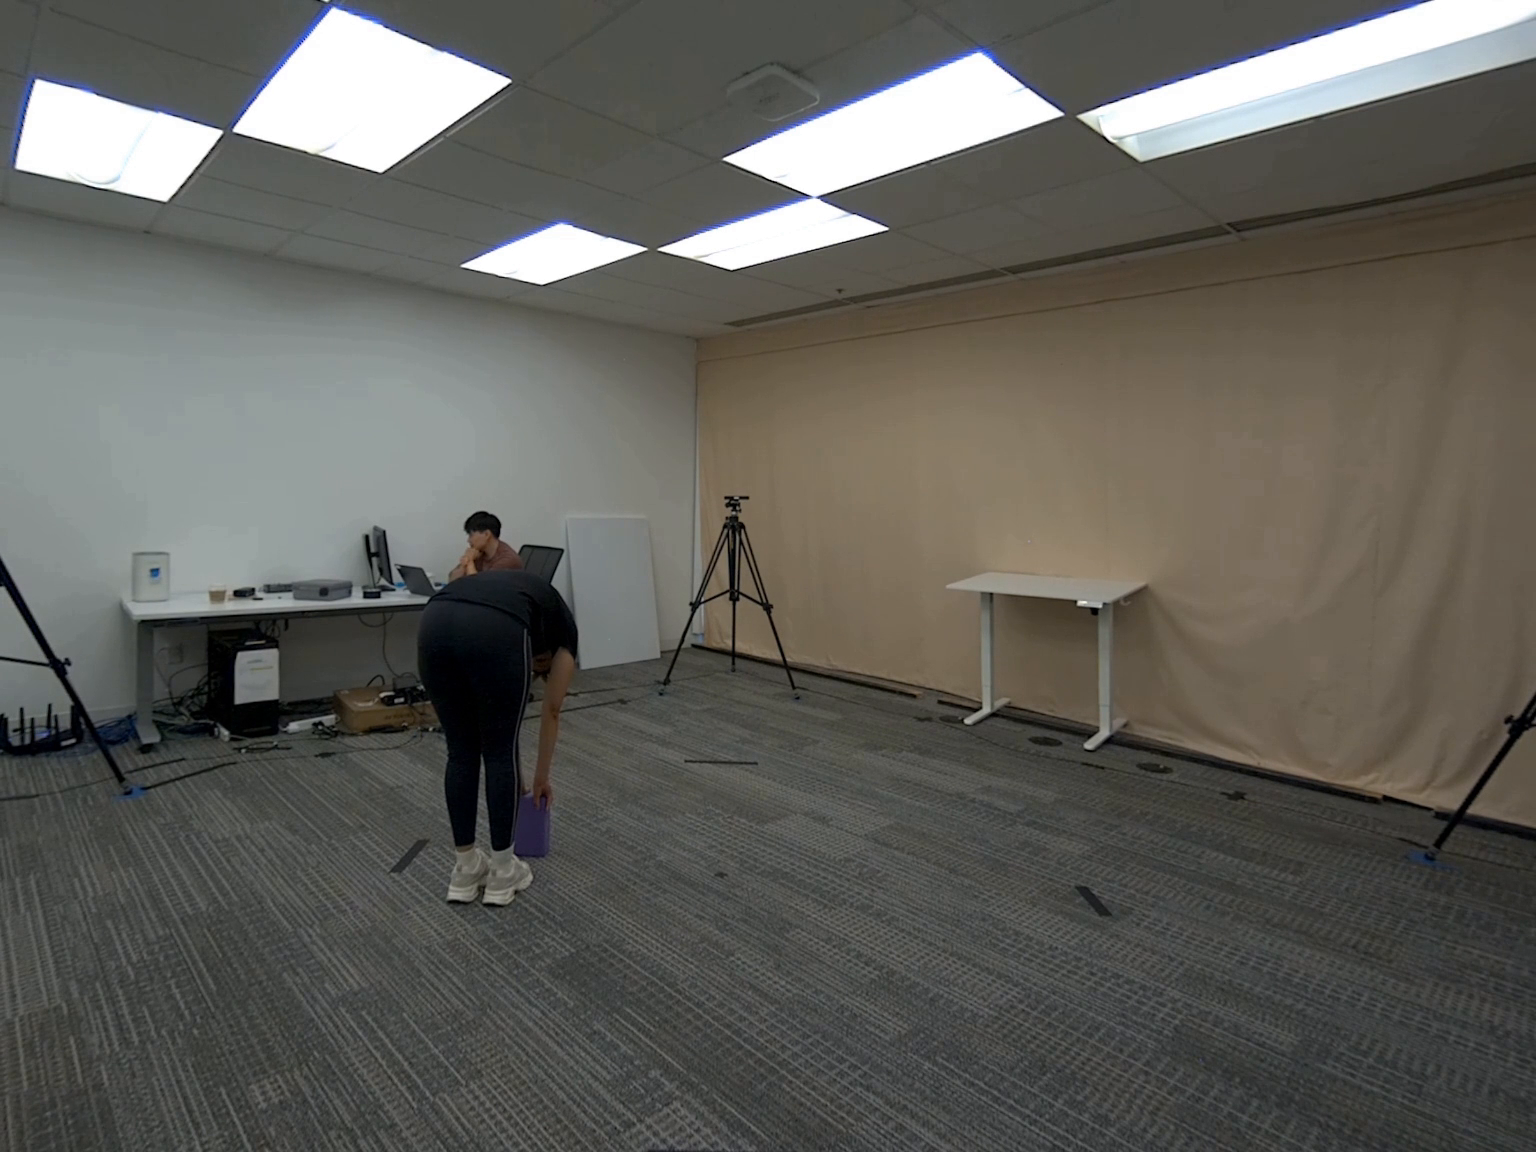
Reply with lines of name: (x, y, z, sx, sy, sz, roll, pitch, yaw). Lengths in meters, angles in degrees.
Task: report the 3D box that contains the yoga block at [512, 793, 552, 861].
yoga block: (-0.930, 0.966, 3.253, 0.150, 0.229, 0.076, 3, 4, 5)
